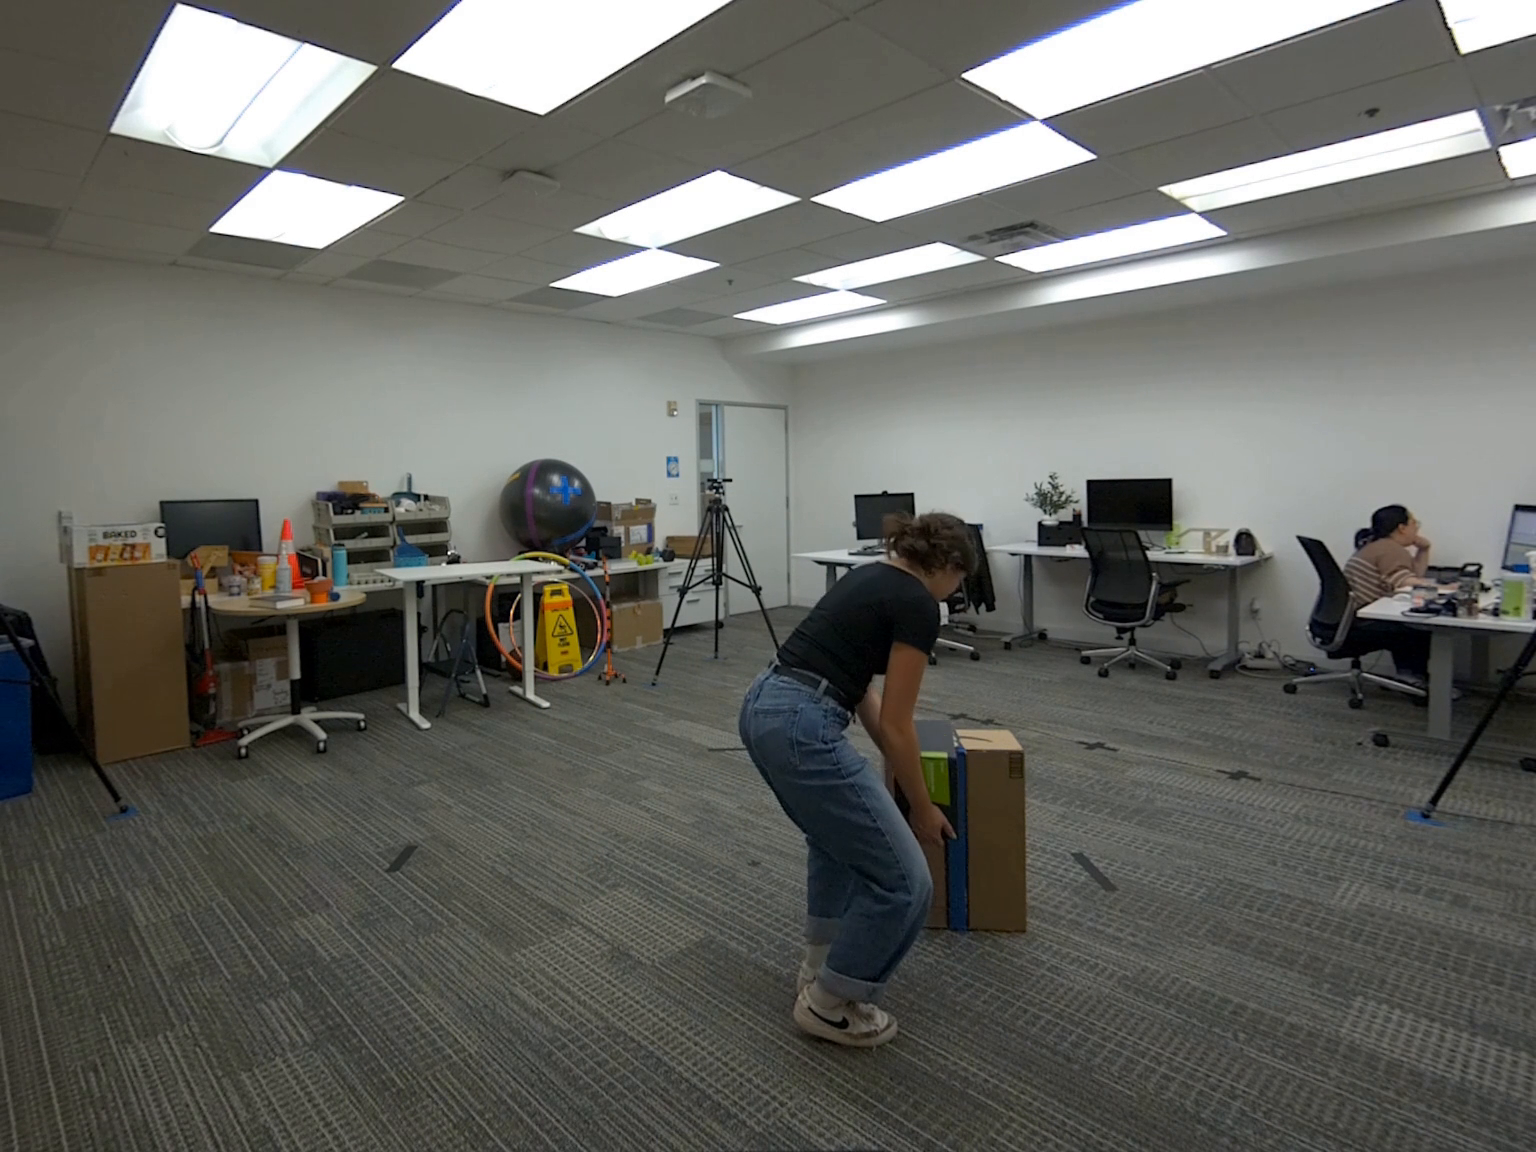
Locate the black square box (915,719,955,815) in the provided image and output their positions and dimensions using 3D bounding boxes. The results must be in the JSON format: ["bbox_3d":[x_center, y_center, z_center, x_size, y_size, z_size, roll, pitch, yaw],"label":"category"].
[{"bbox_3d":[0.419,0.528,2.243,0.157,0.225,0.218,-2,14,5],"label":"black square box"}]
